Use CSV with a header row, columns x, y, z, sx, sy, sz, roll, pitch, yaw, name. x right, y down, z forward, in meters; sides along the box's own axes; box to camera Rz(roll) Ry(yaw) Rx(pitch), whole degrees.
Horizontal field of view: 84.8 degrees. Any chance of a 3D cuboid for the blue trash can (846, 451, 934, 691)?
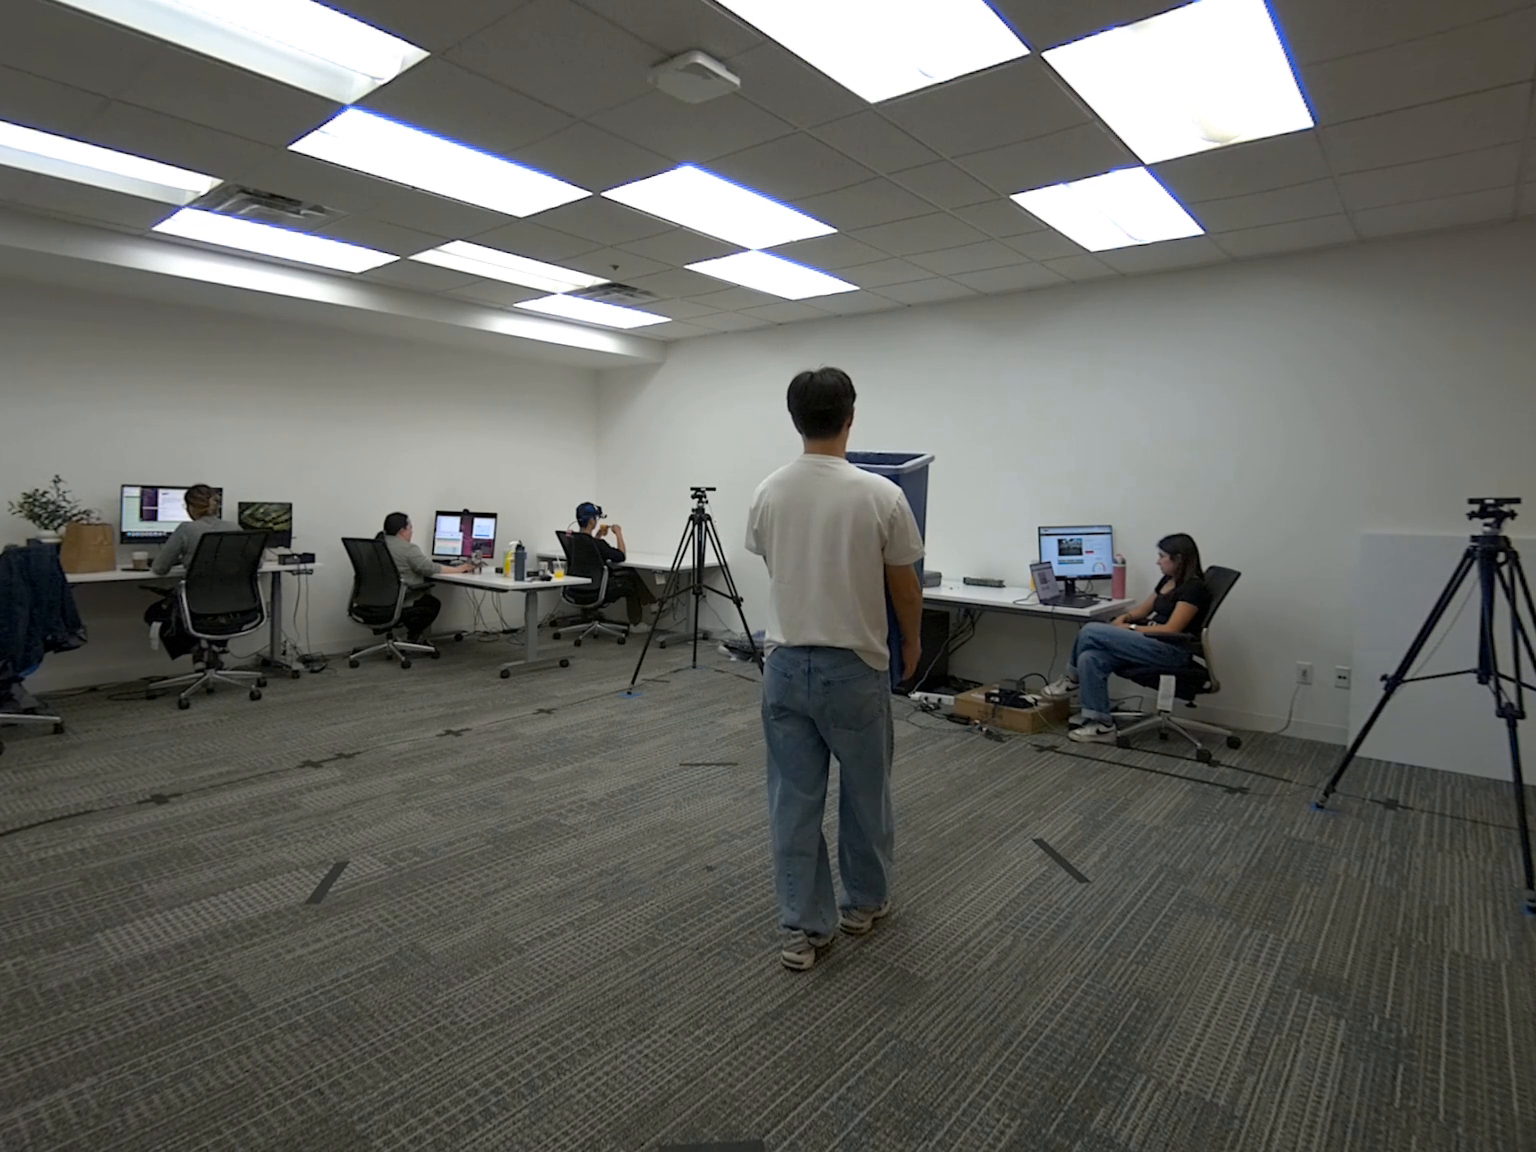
x,y,z,sx,sy,sz,roll,pitch,yaw,name
0.316,-0.043,2.803,0.385,0.705,0.372,4,14,27,blue trash can
